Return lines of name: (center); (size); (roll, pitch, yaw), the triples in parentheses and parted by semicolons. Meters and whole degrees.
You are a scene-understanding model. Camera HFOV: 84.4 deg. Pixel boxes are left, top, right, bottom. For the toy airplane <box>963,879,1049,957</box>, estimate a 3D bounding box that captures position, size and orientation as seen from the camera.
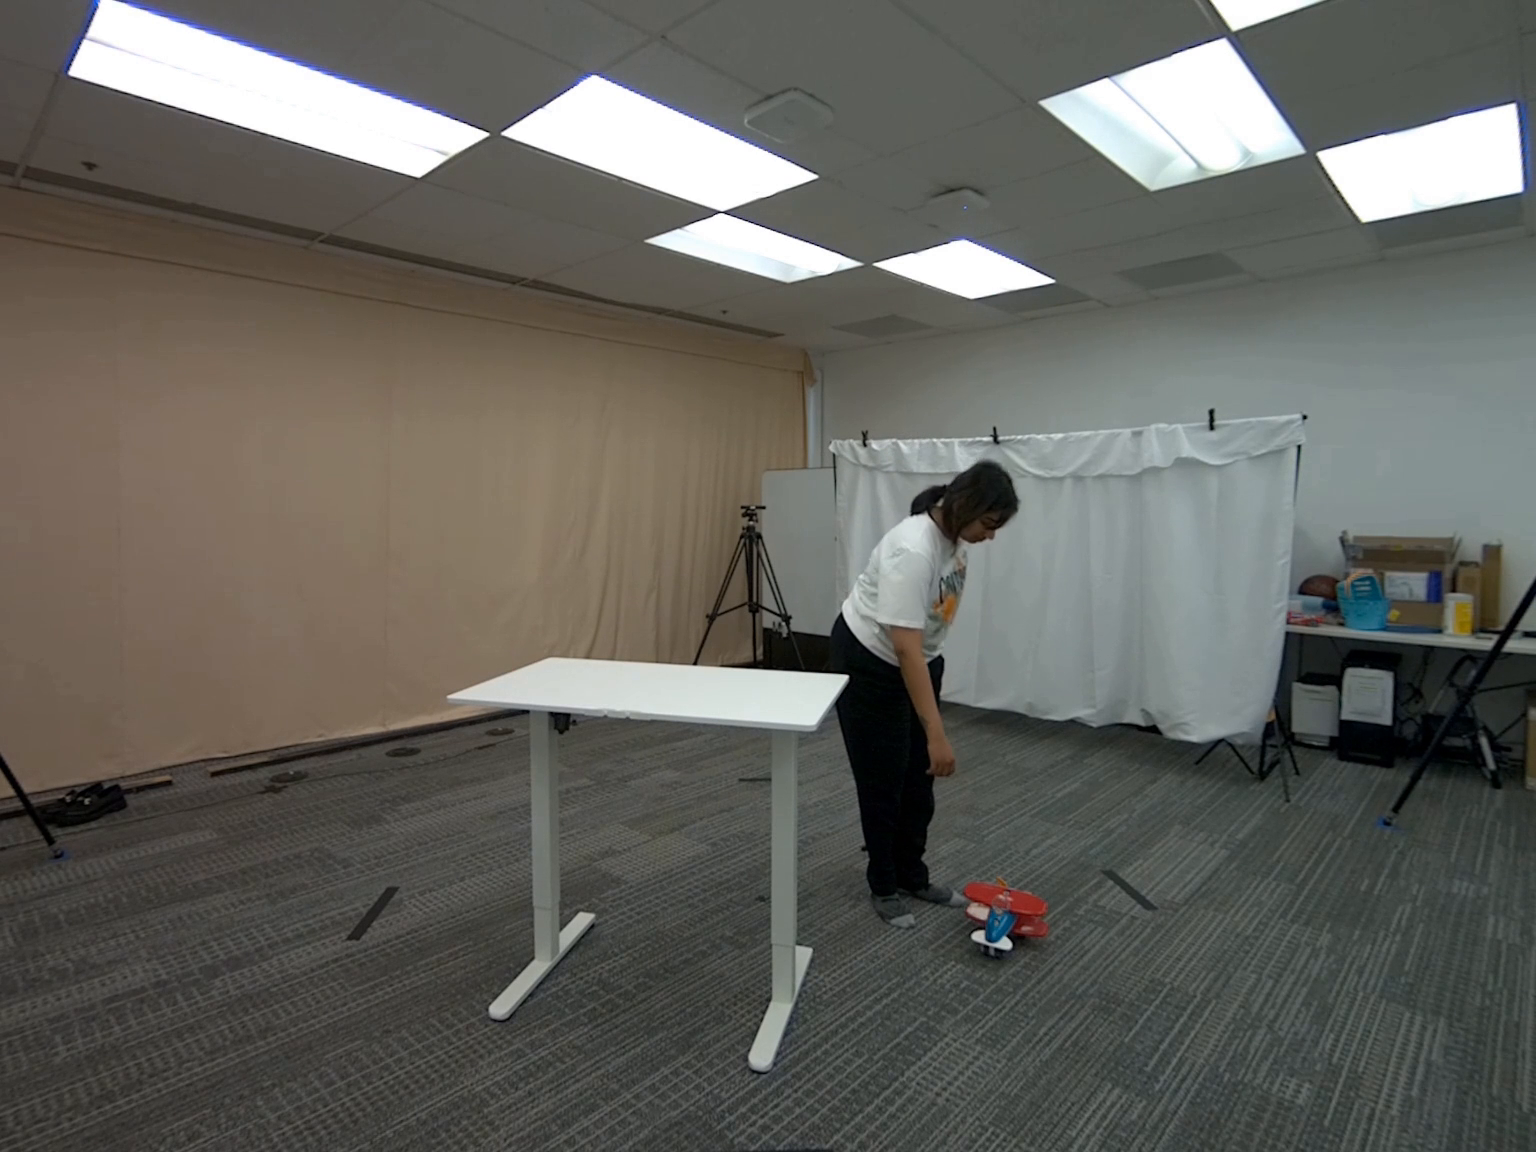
toy airplane: (0.766, 1.093, 2.656); (0.252, 0.156, 0.258); (1, 4, 4)
